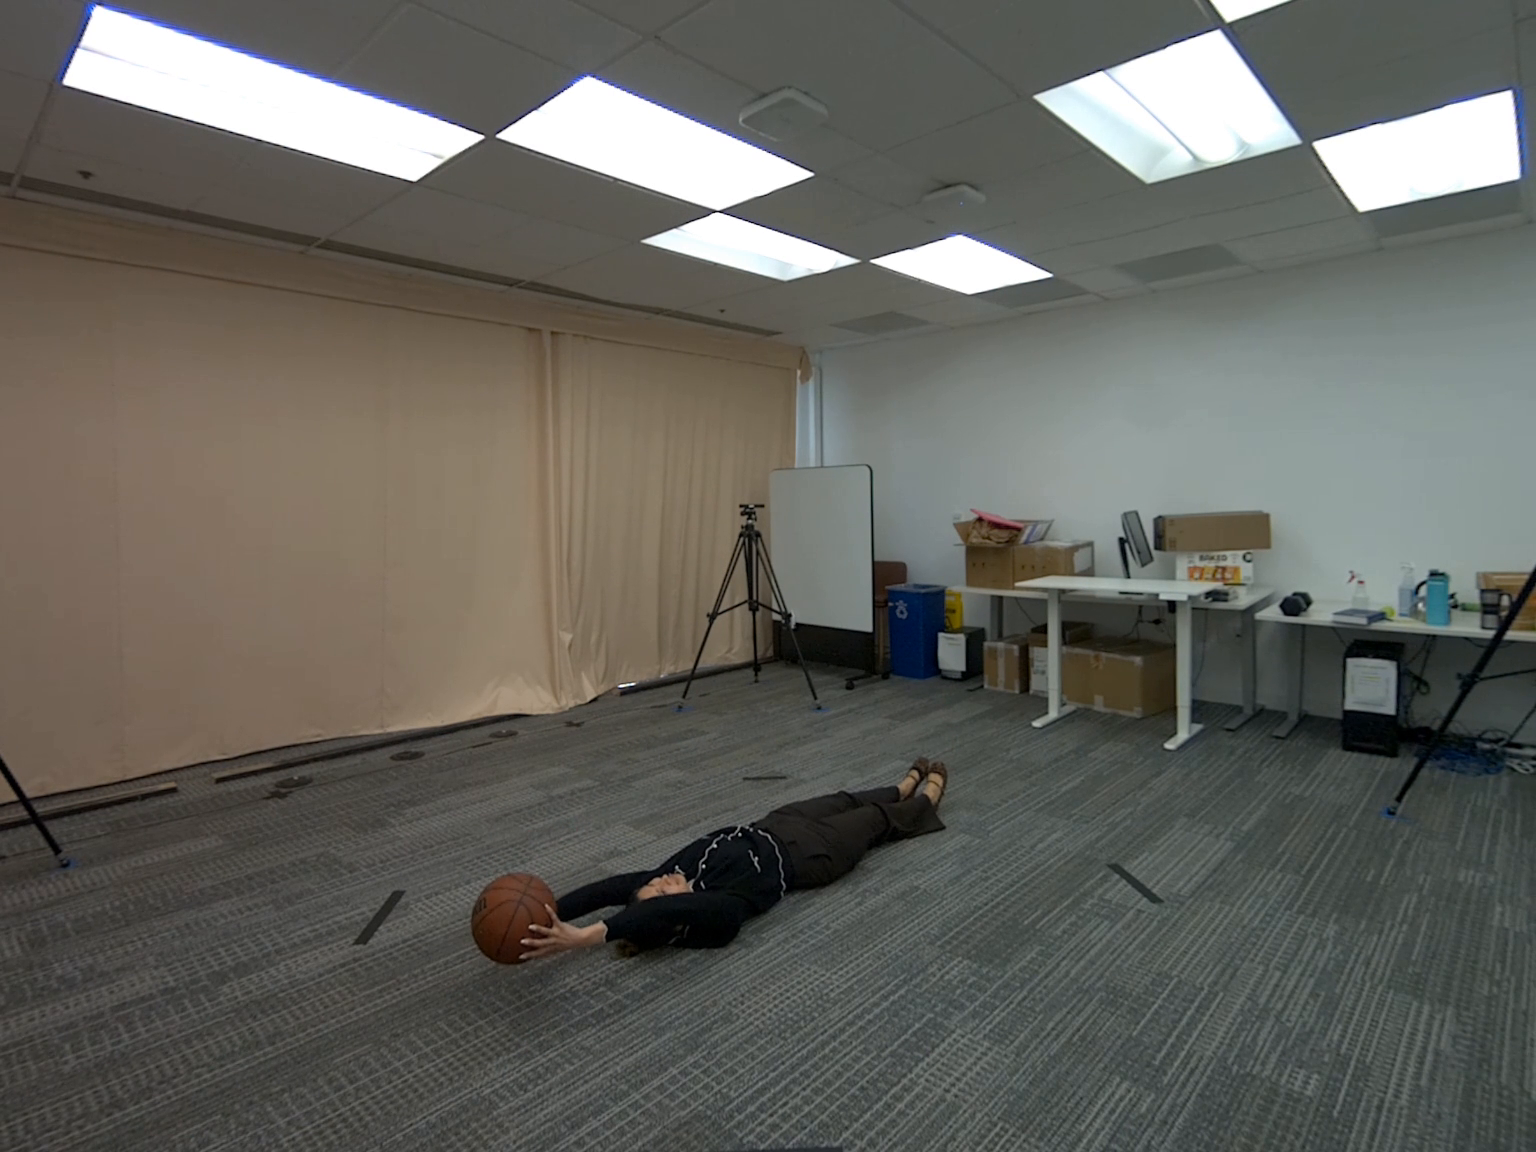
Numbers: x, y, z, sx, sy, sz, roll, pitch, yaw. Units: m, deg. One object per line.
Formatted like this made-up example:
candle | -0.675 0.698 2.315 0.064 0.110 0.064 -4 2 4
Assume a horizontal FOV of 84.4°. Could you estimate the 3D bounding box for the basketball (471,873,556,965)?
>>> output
basketball | -0.704 0.943 2.352 0.236 0.235 0.237 -1 4 -2
